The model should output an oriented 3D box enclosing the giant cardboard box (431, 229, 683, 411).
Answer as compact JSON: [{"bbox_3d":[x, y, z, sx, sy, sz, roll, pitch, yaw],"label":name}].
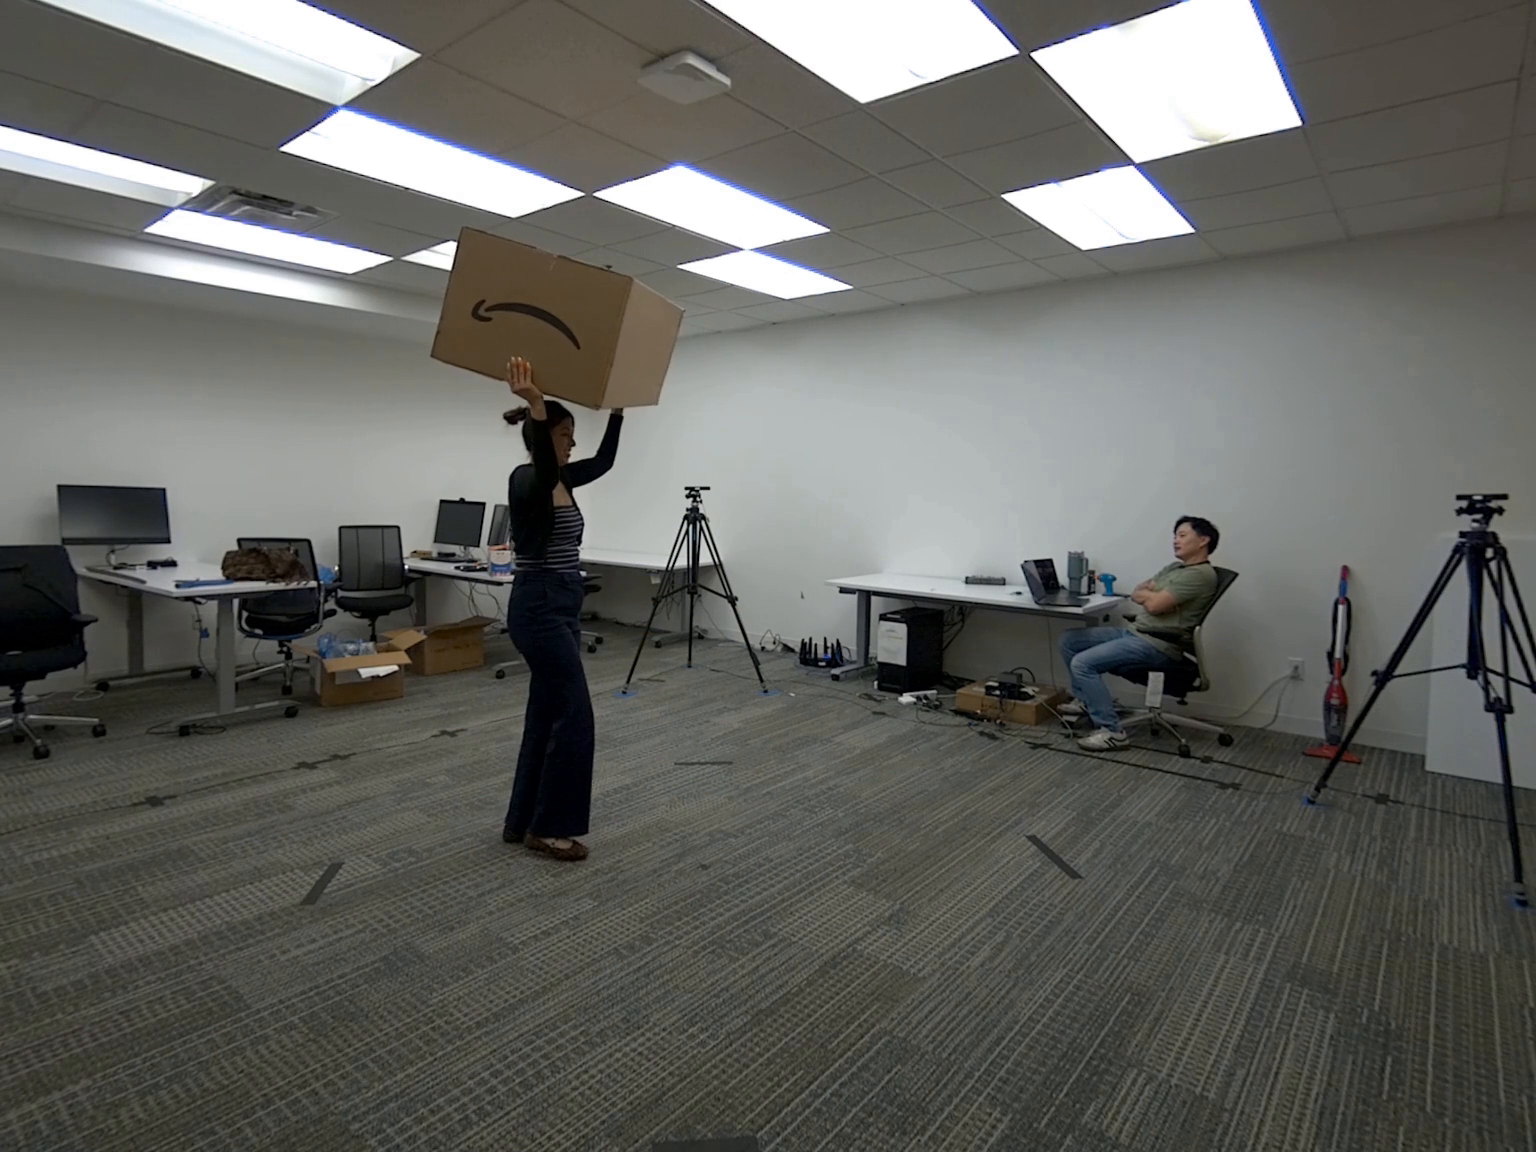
[{"bbox_3d":[-0.724,-0.909,3.151,0.579,0.423,1.030,17,13,1],"label":"giant cardboard box"}]
